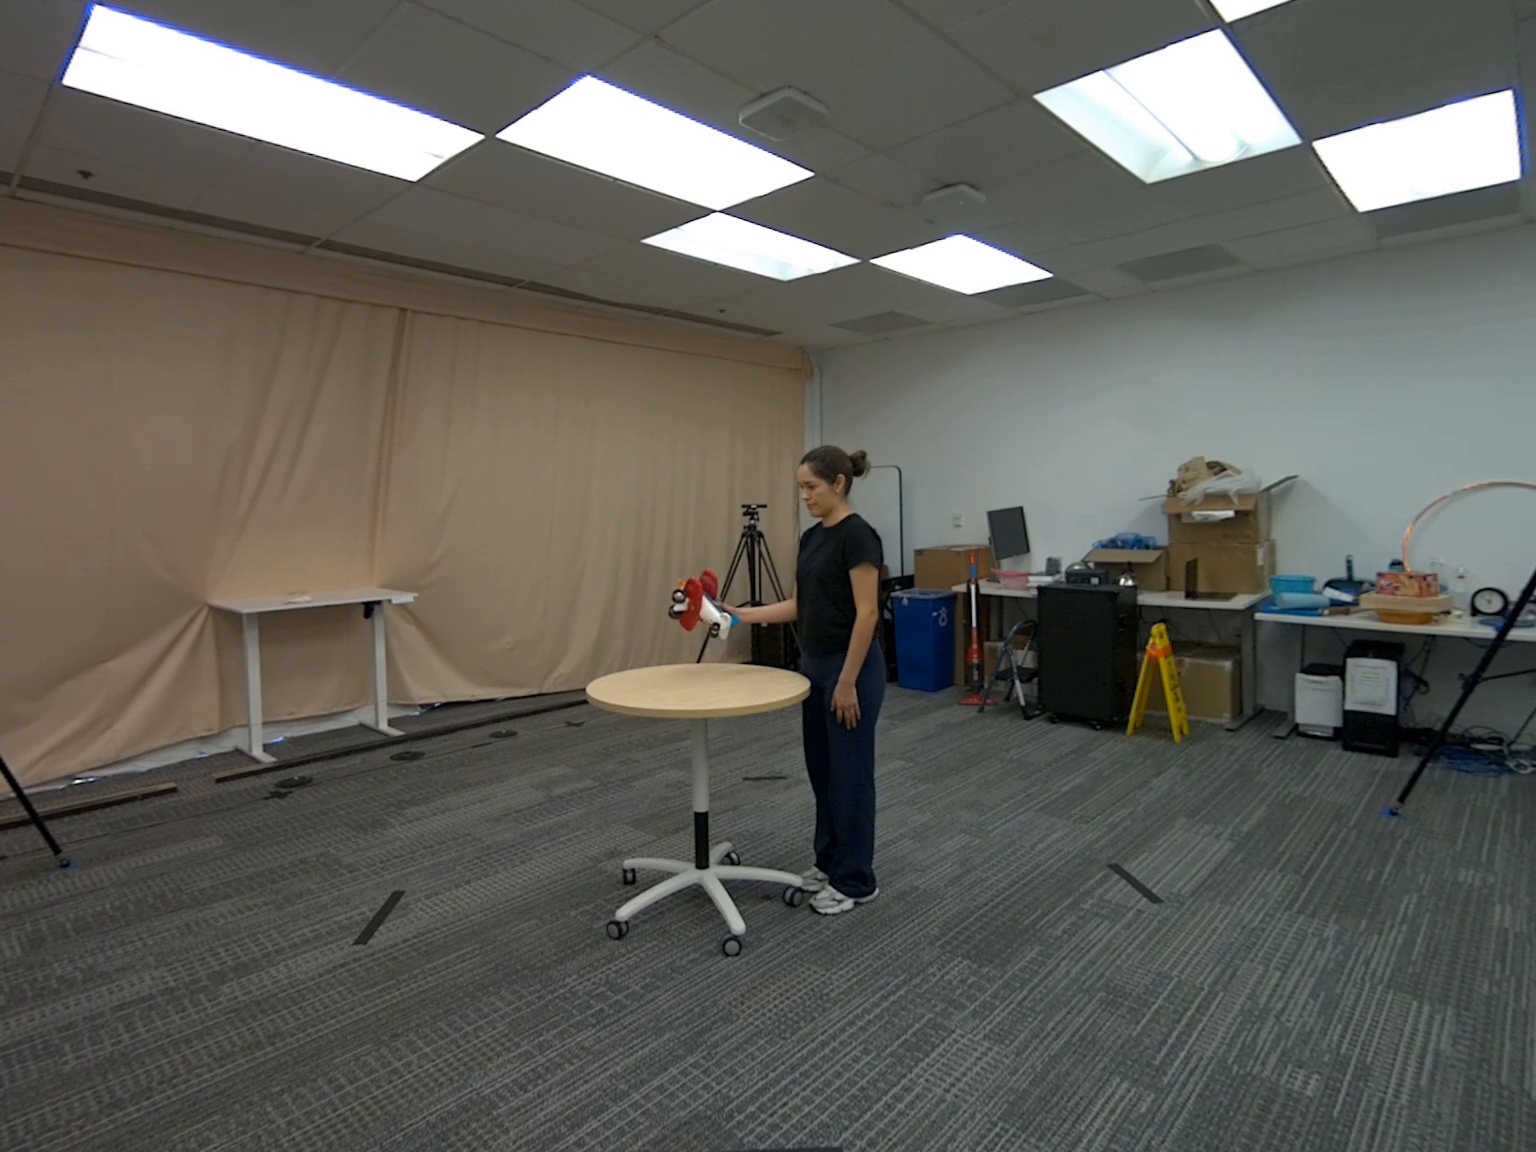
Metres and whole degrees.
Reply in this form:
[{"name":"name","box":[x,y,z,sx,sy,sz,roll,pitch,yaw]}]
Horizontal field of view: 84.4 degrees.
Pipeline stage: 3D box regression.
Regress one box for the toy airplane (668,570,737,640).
[{"name":"toy airplane","box":[-0.226,0.131,3.130,0.255,0.258,0.154,-36,5,45]}]
